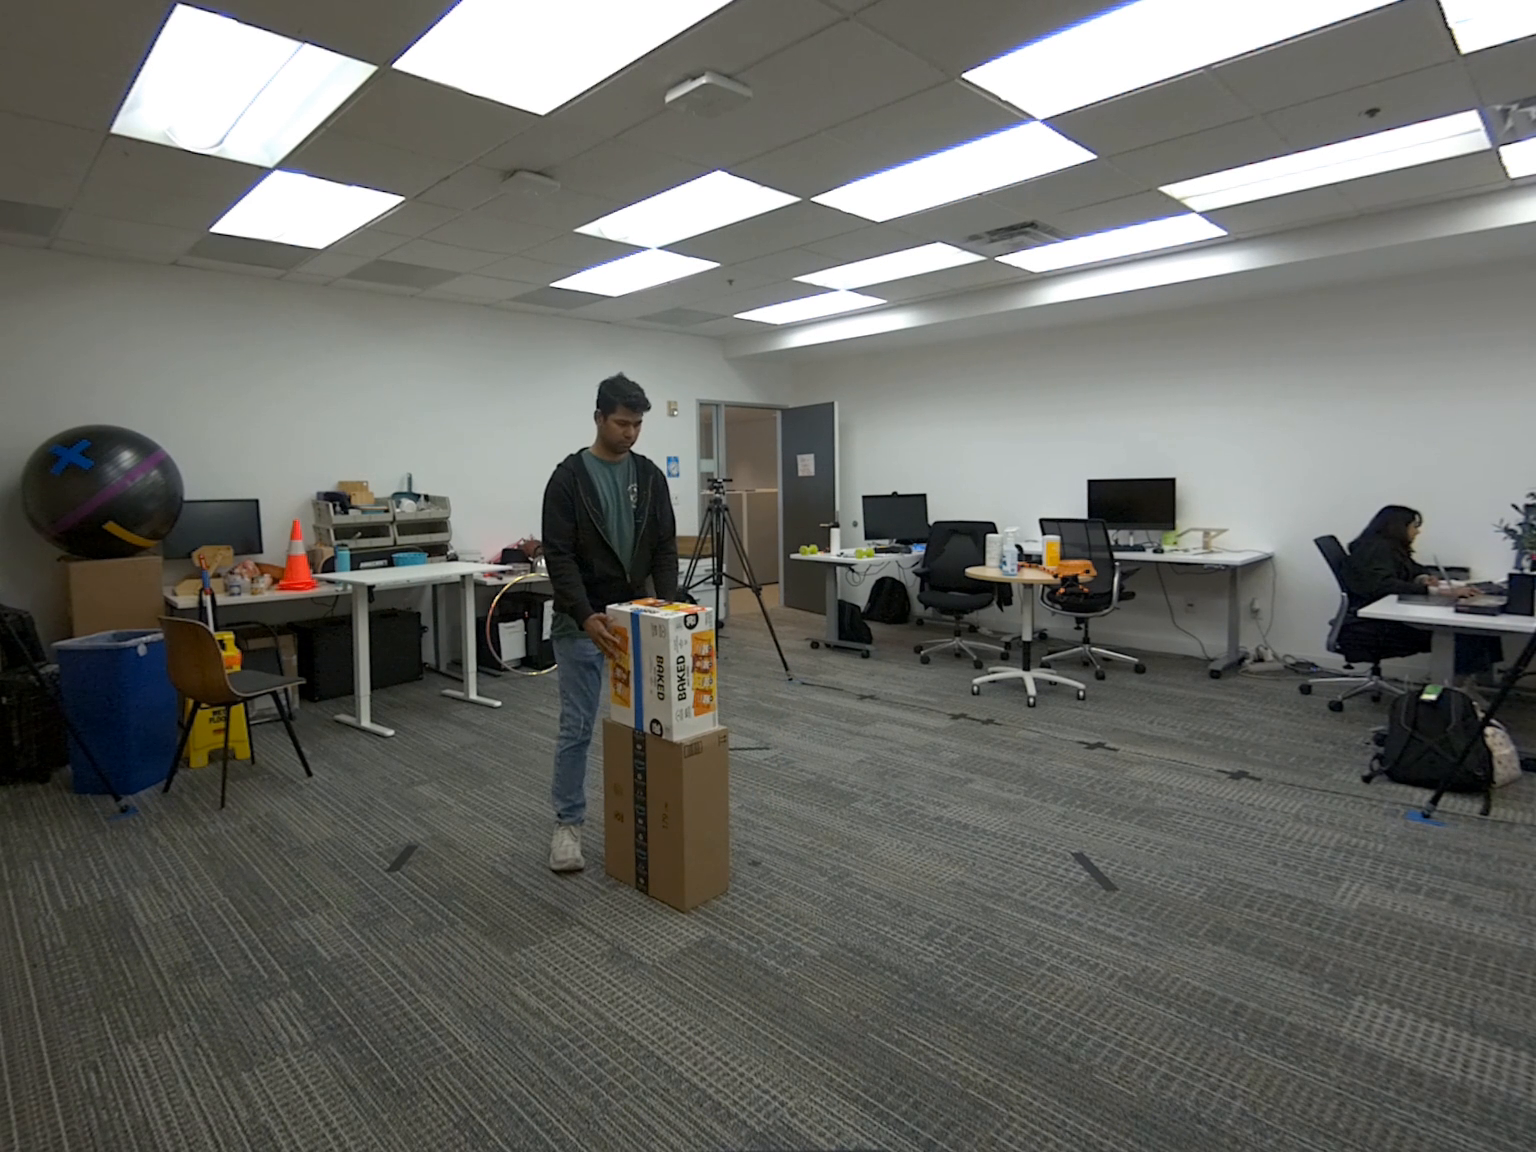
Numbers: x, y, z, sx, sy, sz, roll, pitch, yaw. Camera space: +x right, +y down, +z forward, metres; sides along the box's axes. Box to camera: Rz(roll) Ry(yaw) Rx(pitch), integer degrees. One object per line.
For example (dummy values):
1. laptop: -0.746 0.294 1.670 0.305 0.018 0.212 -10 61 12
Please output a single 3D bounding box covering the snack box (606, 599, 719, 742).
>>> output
1. snack box: -0.358 0.305 2.900 0.200 0.403 0.351 -7 8 -44
